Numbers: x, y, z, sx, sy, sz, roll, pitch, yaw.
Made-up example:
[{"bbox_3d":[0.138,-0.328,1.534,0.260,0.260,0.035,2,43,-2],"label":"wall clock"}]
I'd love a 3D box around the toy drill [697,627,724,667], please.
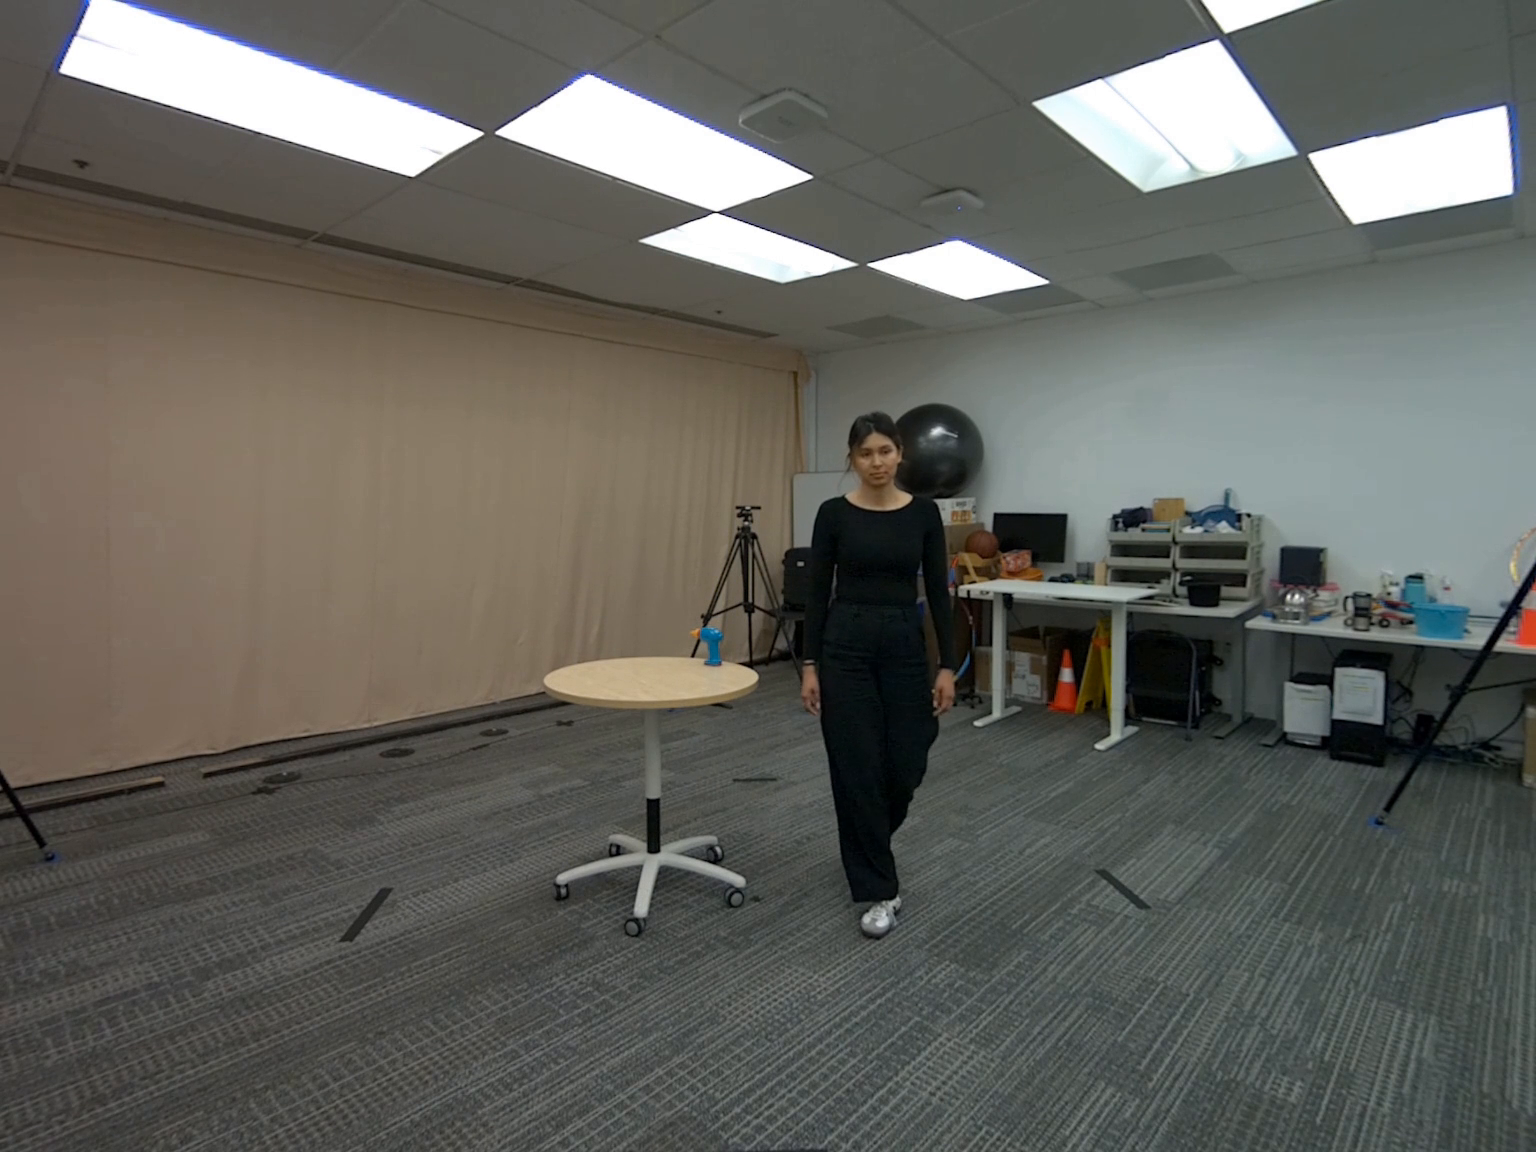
[{"bbox_3d":[-0.237,0.266,3.258,0.175,0.146,0.059,4,4,37],"label":"toy drill"}]
